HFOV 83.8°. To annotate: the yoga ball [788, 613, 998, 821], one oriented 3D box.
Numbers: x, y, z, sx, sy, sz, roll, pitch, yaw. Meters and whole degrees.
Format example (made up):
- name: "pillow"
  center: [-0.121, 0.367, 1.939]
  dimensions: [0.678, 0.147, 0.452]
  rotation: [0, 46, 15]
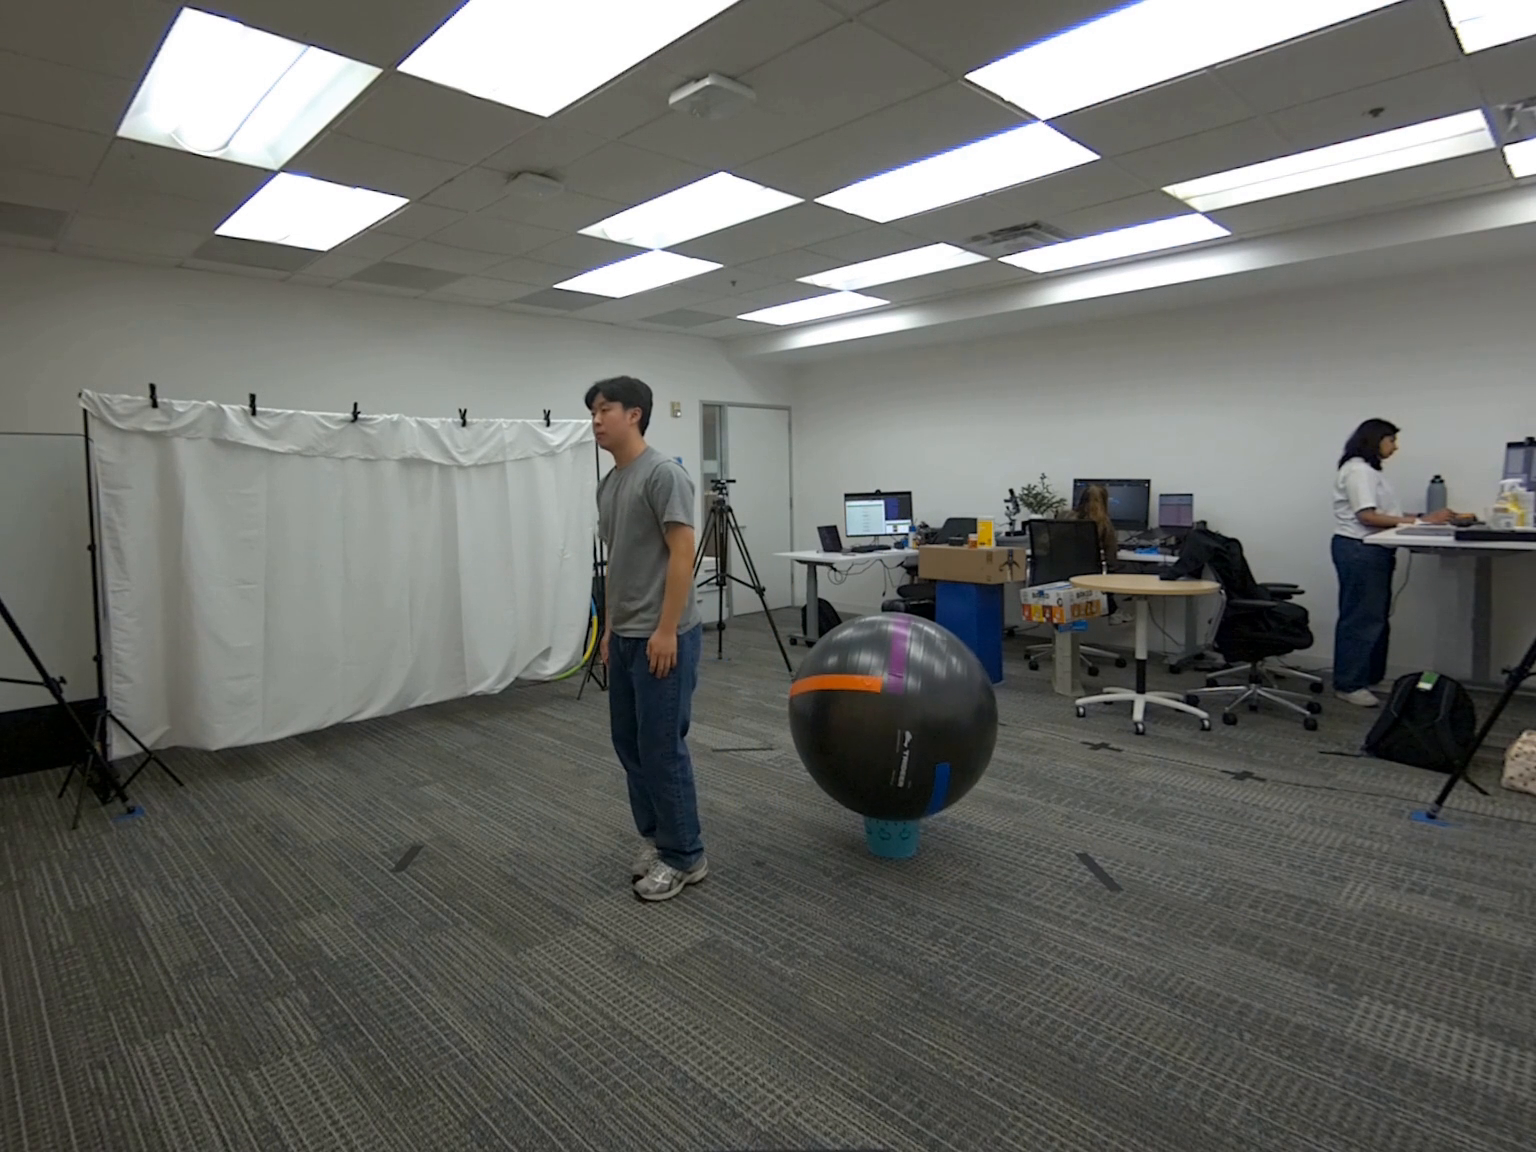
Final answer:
- name: "yoga ball"
  center: [0.476, 0.524, 3.191]
  dimensions: [0.757, 0.755, 0.762]
  rotation: [-1, 5, -2]
